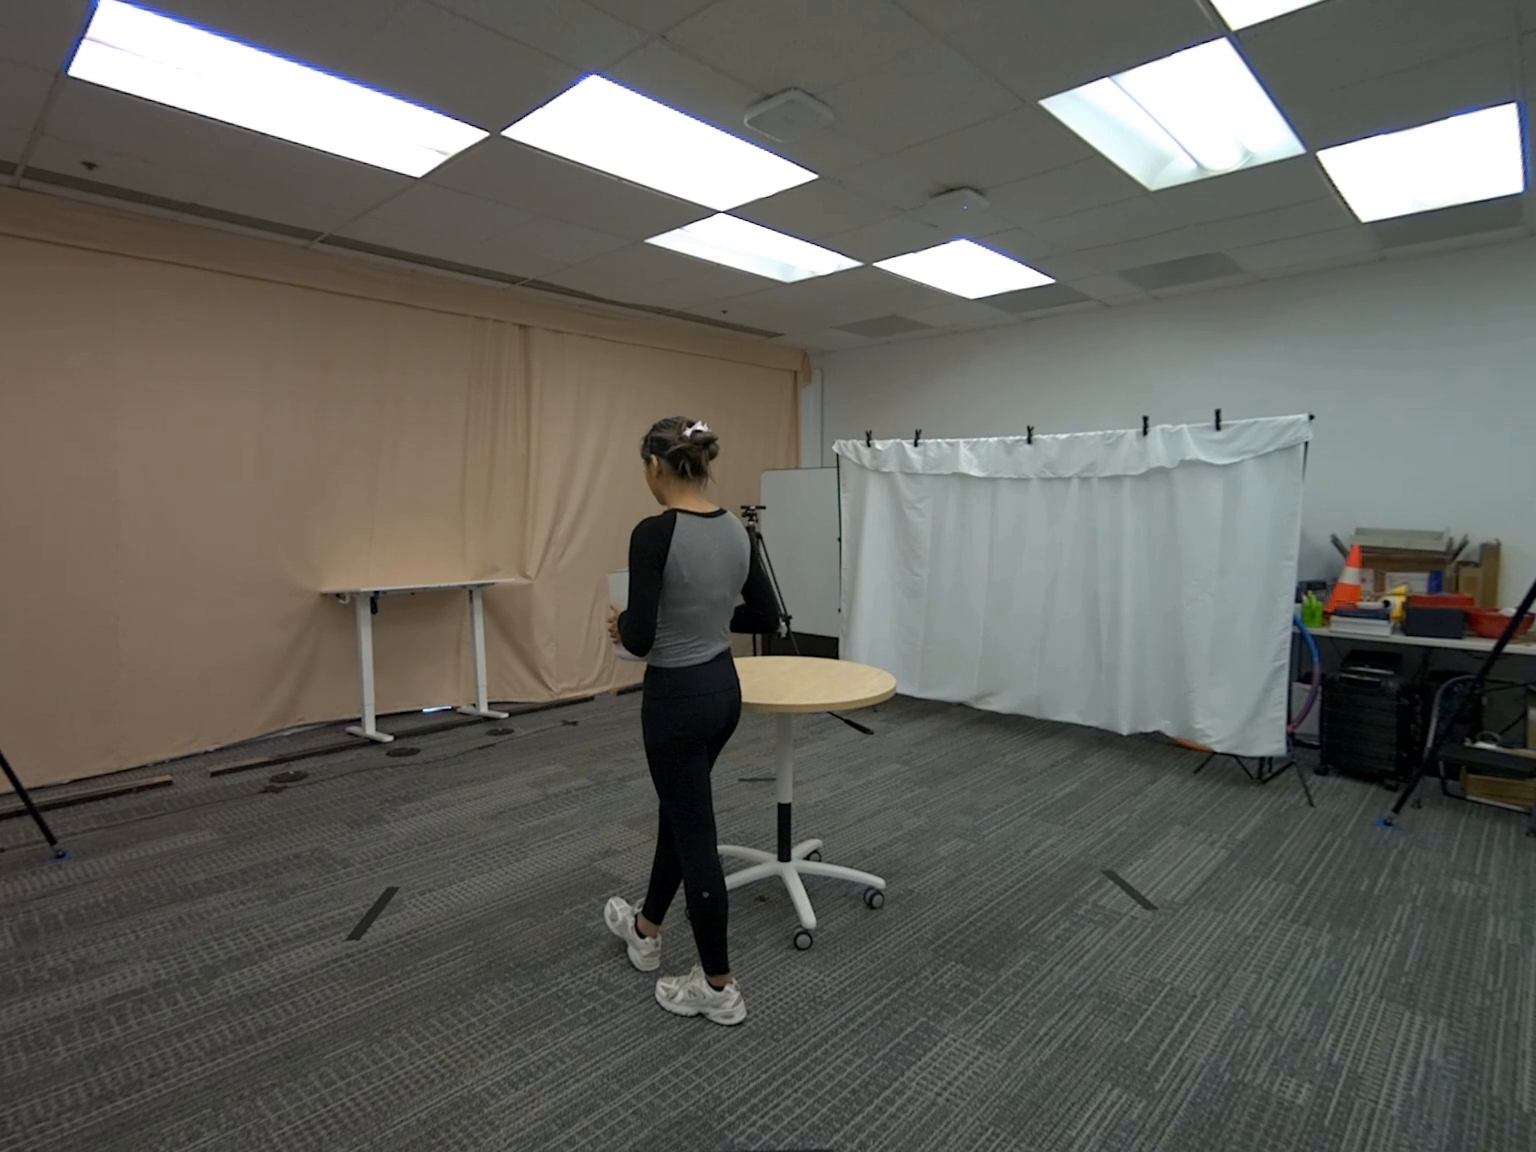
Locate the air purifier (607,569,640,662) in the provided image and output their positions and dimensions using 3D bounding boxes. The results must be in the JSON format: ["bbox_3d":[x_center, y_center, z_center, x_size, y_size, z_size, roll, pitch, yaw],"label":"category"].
[{"bbox_3d":[-0.363,0.105,2.473,0.166,0.265,0.177,-7,2,-41],"label":"air purifier"}]
